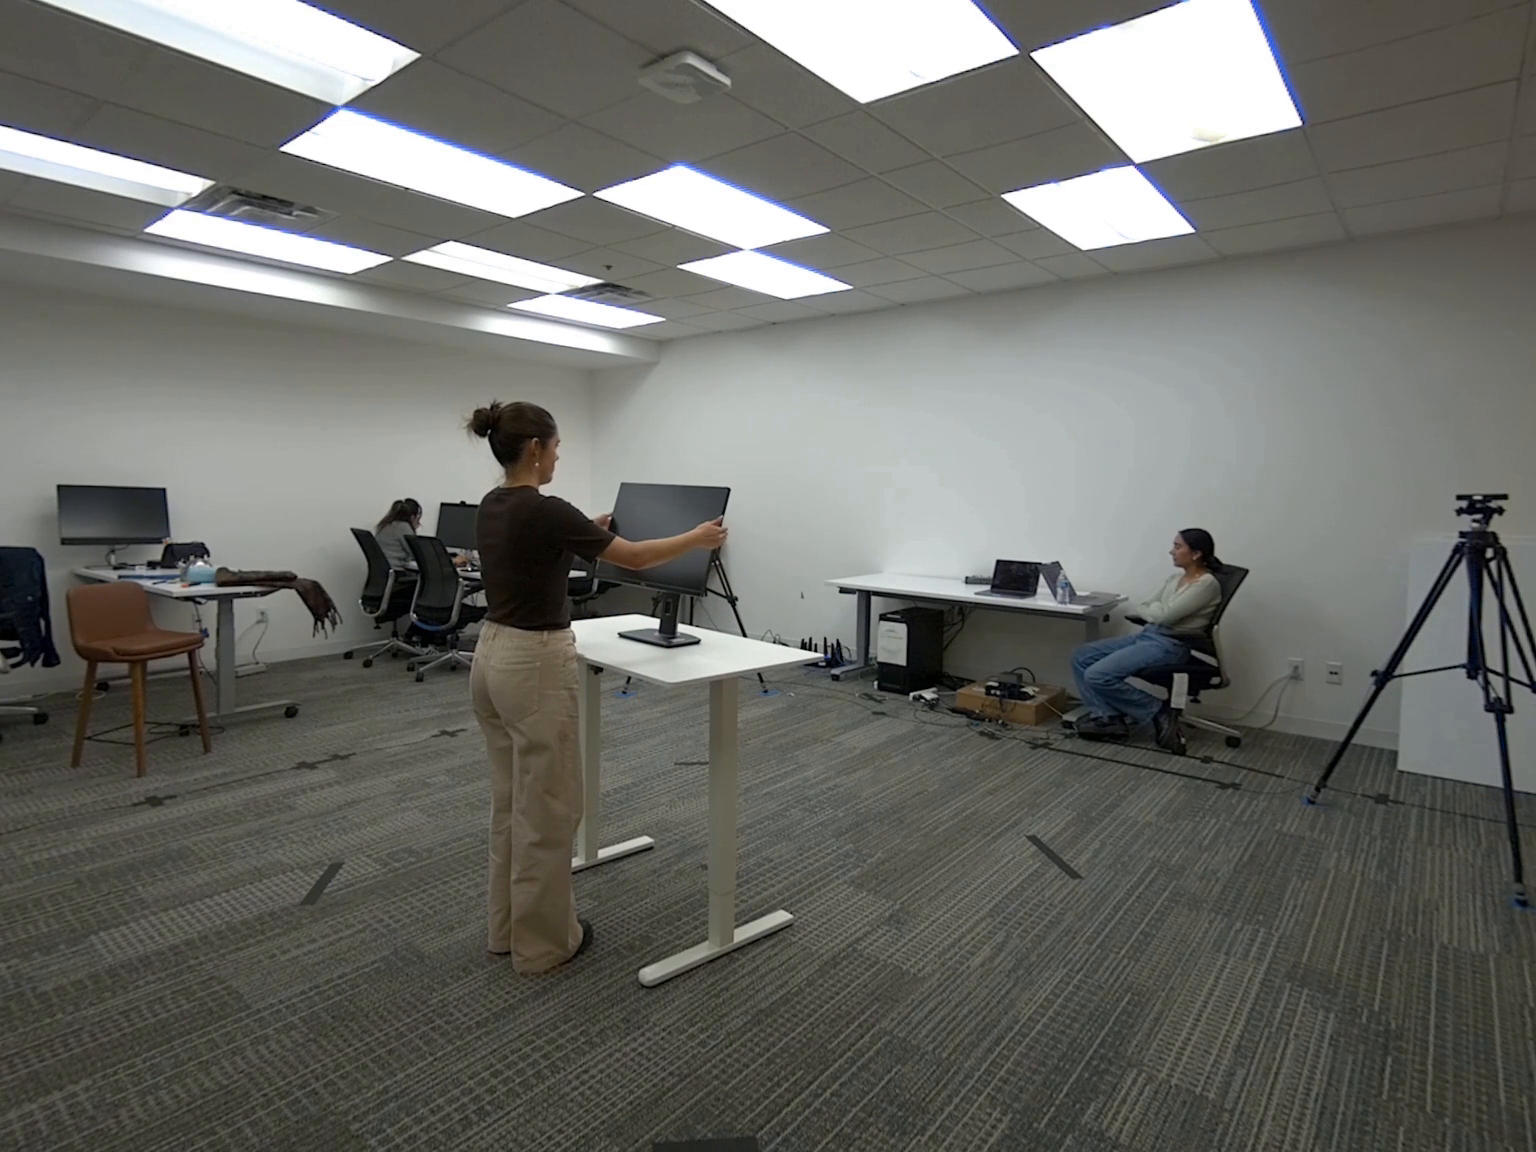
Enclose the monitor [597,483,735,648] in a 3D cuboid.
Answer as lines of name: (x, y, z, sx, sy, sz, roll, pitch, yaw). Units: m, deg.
monitor: (-0.355, -0.044, 2.817, 0.558, 0.522, 0.181, 6, 2, 41)
